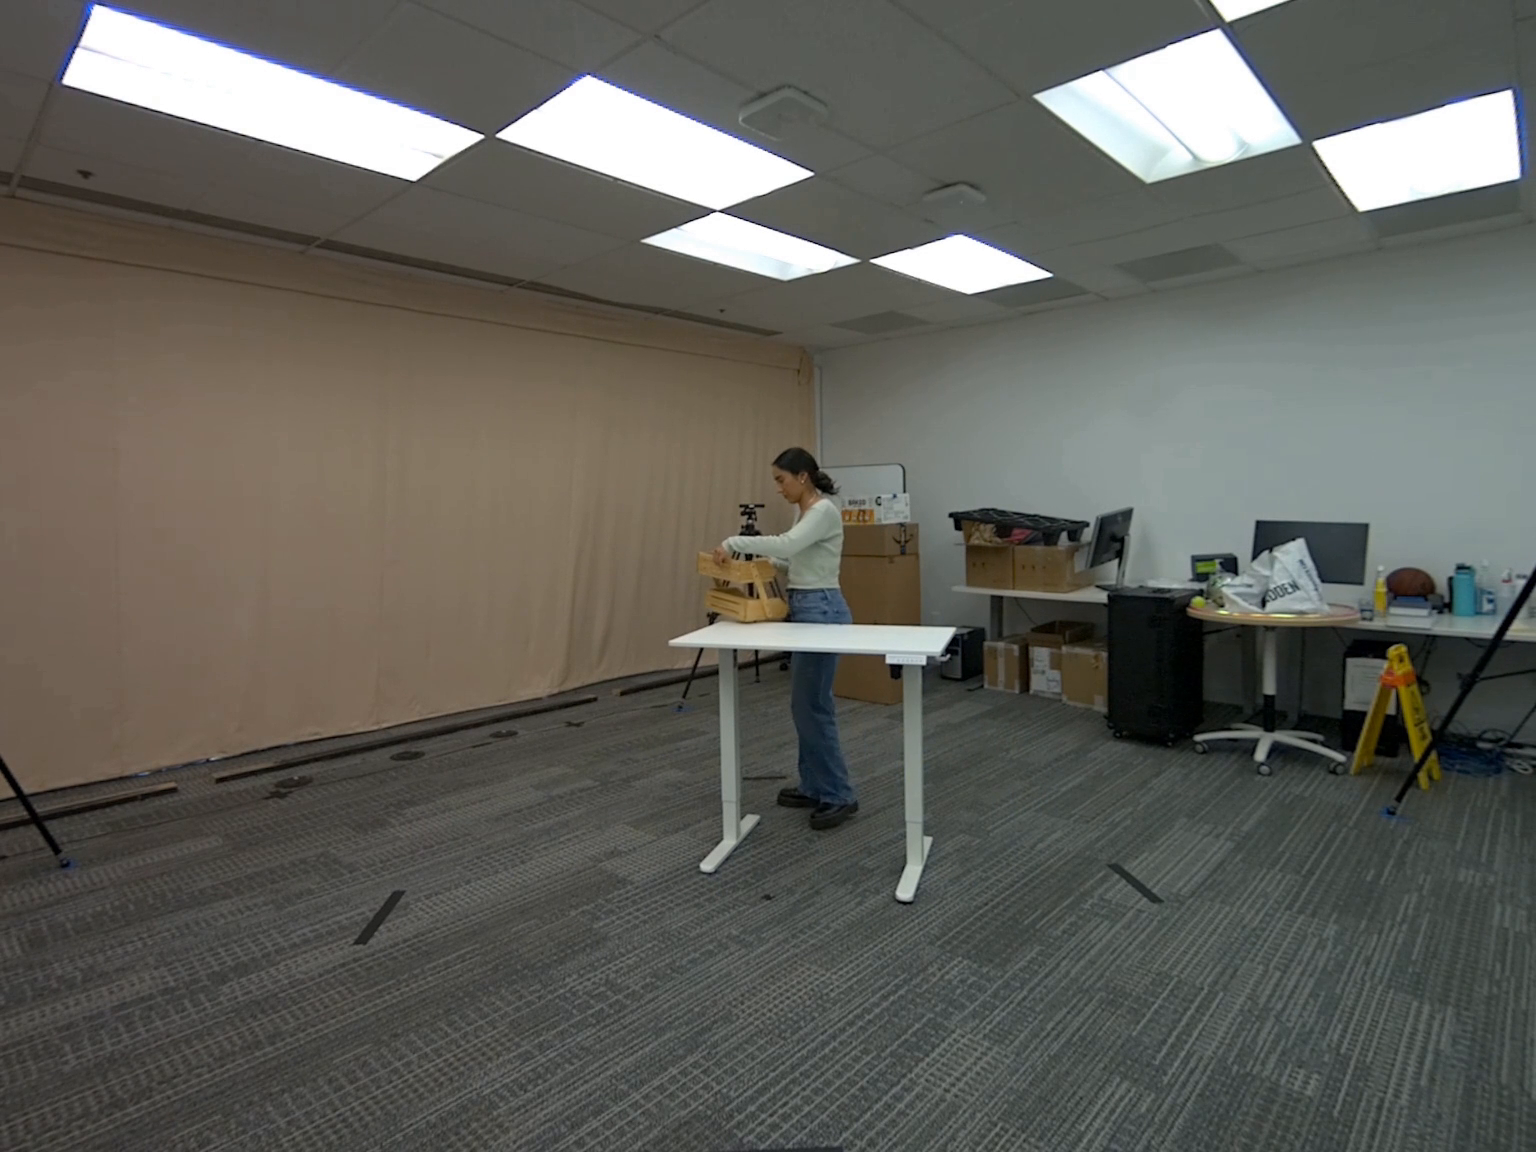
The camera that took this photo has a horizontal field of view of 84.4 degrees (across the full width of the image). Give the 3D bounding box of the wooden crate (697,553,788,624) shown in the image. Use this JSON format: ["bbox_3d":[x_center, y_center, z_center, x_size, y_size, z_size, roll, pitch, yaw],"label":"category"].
[{"bbox_3d":[-0.109,0.042,3.770,0.293,0.272,0.336,-2,9,-40],"label":"wooden crate"}]
